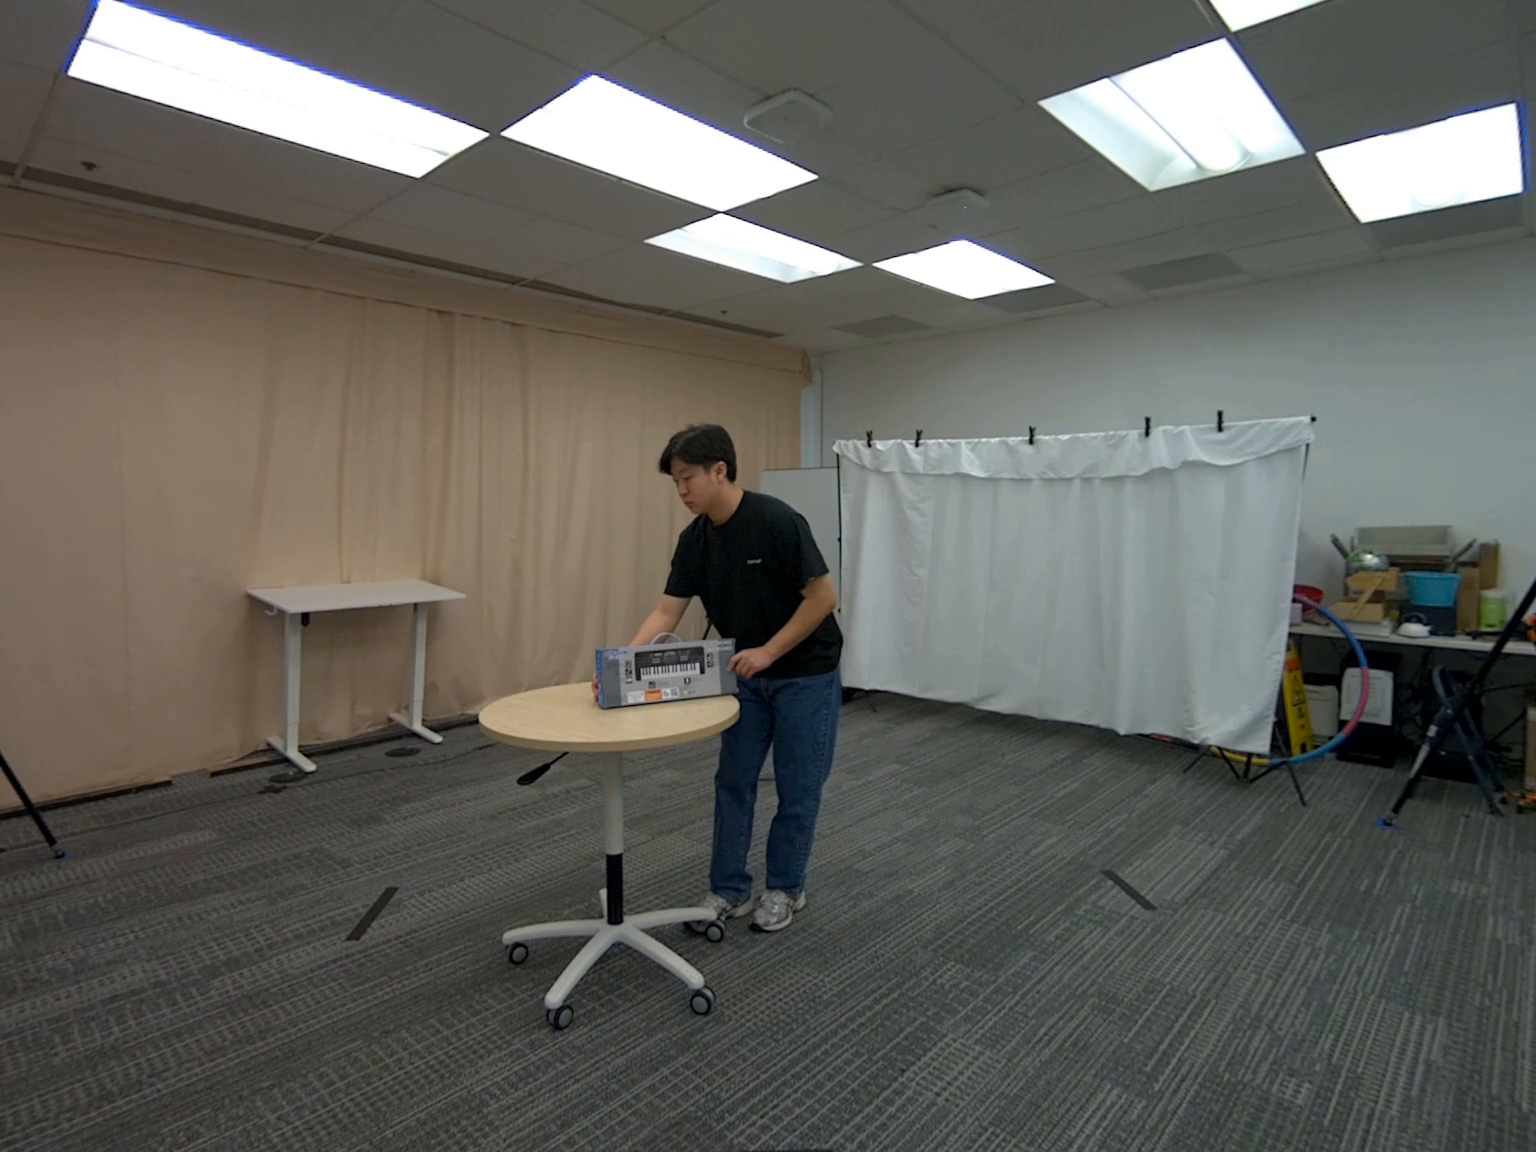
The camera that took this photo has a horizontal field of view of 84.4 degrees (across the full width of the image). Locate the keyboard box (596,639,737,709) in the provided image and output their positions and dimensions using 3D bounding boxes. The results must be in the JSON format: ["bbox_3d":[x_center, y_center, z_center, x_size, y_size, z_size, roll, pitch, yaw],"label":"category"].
[{"bbox_3d":[-0.309,0.301,2.584,0.427,0.176,0.060,-3,0,-22],"label":"keyboard box"}]
